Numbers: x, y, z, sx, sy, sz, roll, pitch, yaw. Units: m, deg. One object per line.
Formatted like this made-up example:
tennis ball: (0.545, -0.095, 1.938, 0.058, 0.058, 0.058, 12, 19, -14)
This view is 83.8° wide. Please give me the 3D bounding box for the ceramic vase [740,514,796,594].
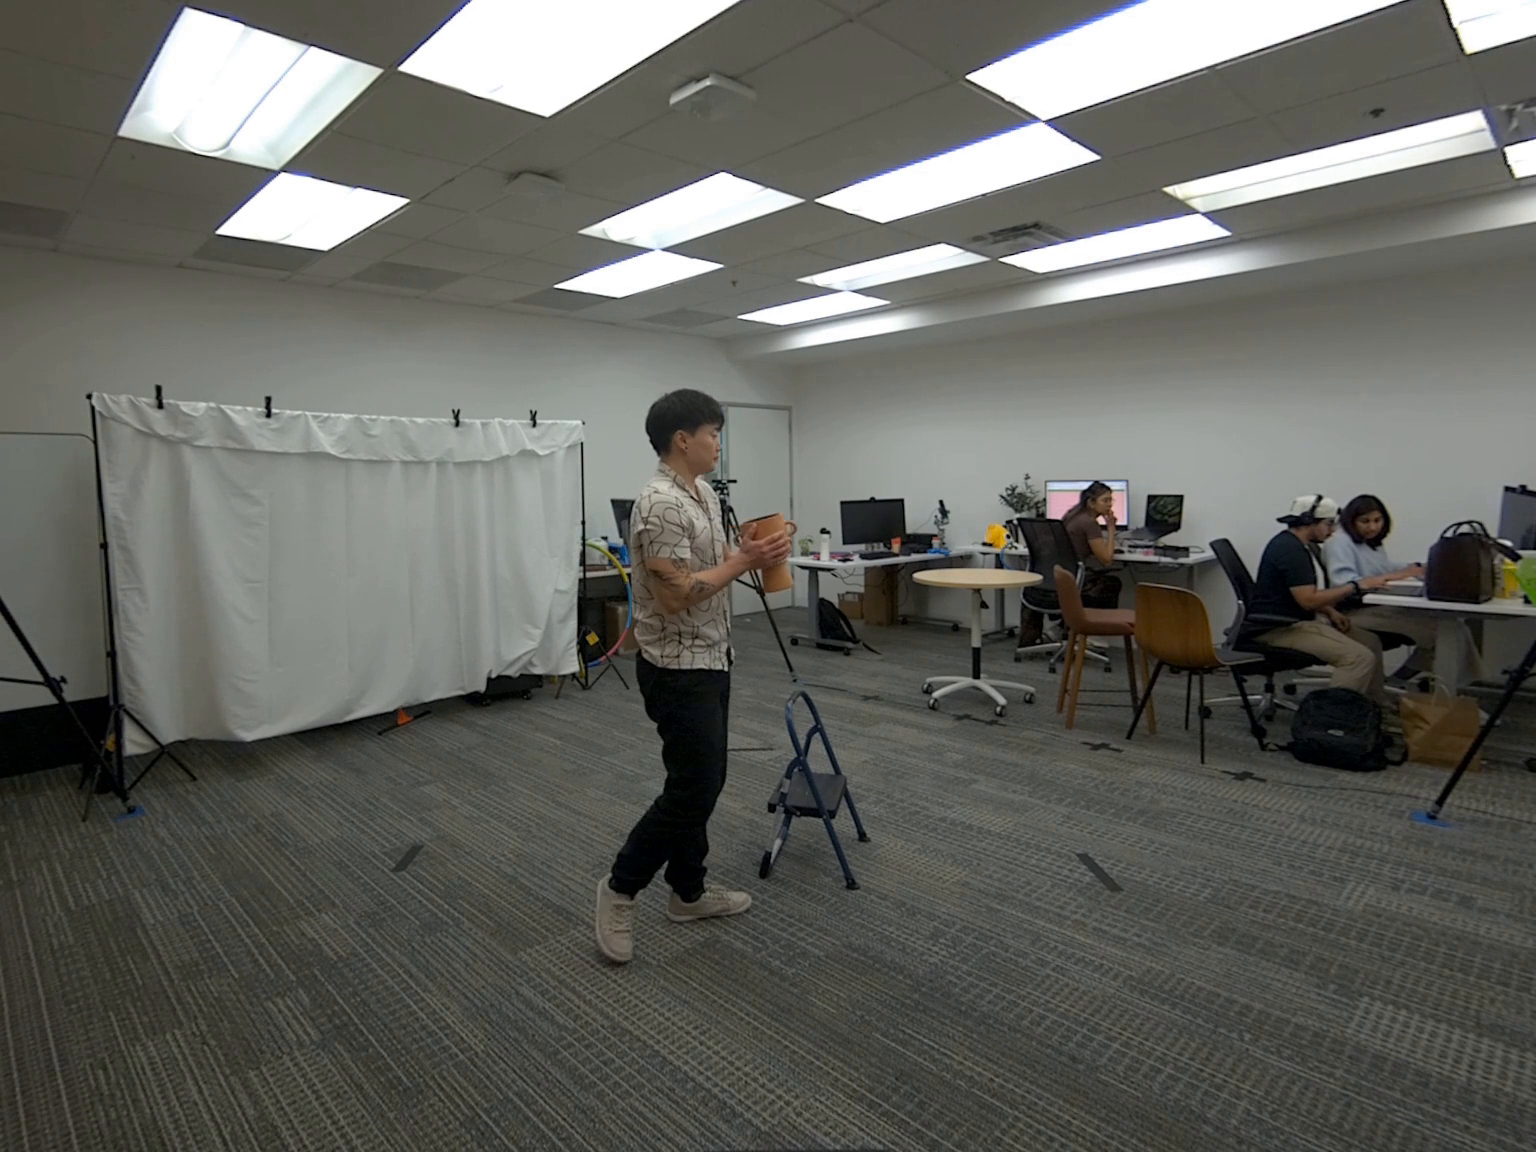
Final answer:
ceramic vase: (0.000, -0.067, 2.578, 0.163, 0.219, 0.132, -9, 6, 46)
